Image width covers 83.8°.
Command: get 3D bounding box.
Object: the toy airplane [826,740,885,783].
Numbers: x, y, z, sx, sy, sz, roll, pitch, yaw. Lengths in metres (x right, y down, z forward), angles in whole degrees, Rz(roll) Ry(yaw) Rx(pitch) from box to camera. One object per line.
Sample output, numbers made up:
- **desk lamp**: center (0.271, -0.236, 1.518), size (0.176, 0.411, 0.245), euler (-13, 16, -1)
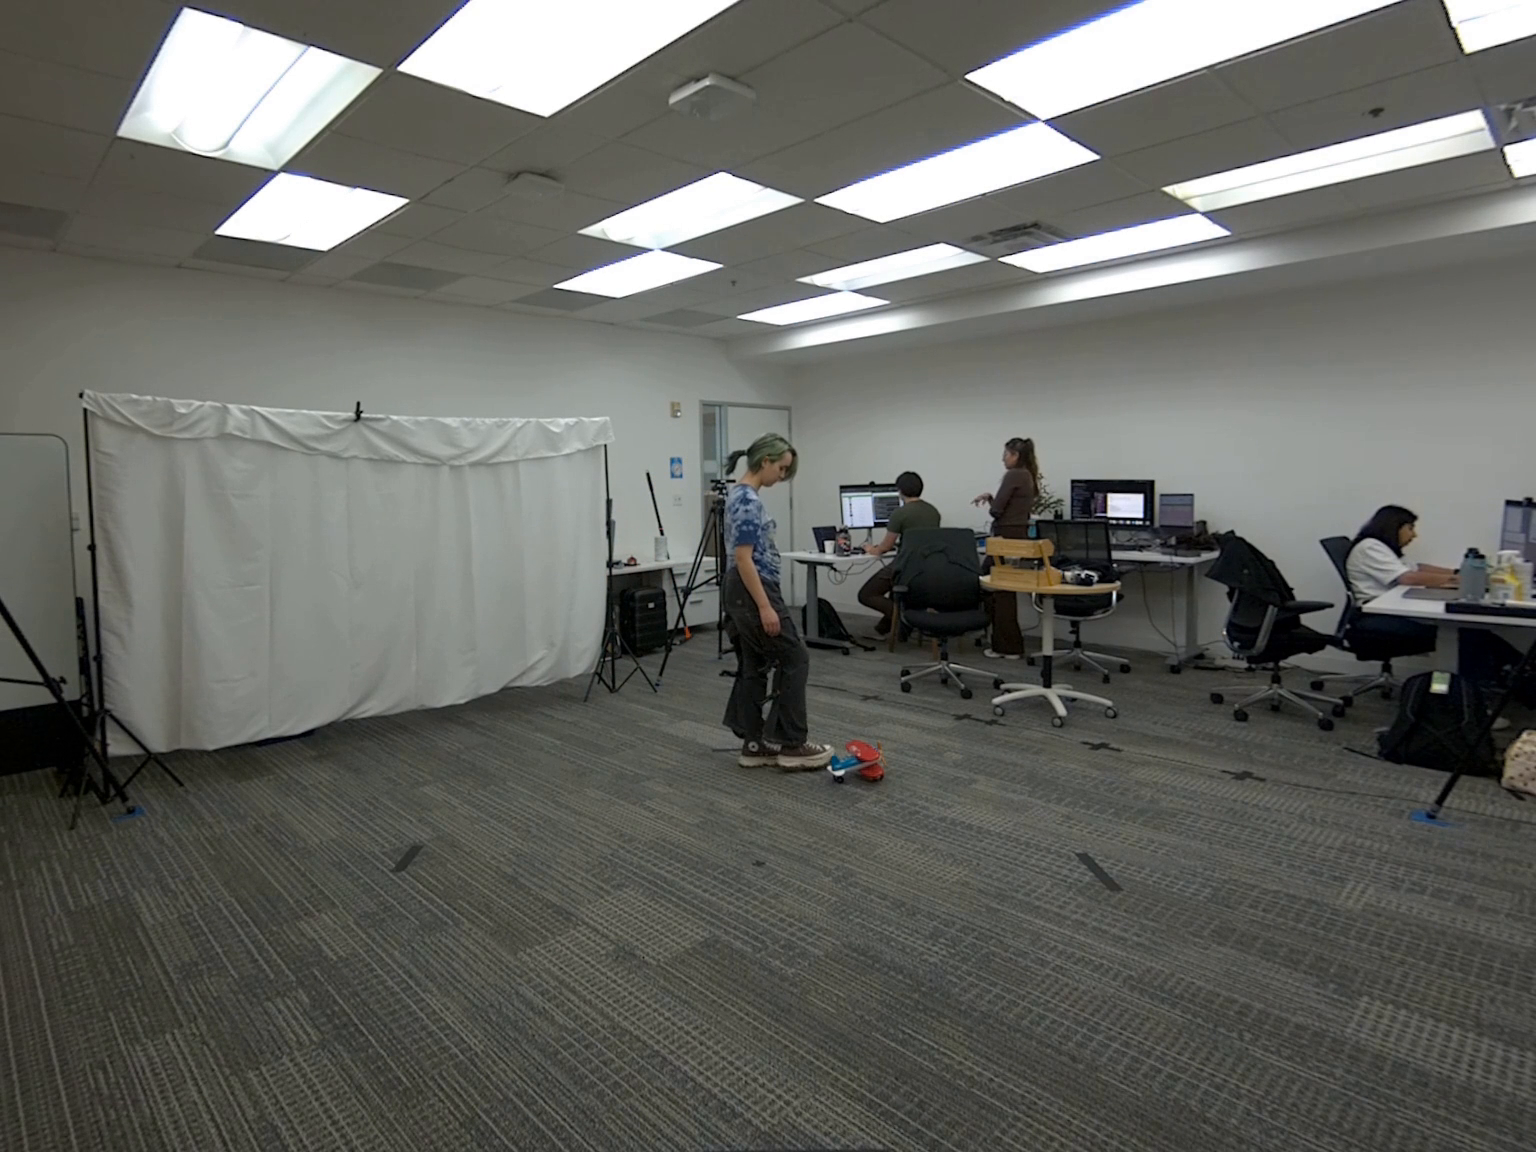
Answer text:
- **toy airplane**: center (0.420, 0.875, 3.943), size (0.259, 0.156, 0.252), euler (5, 7, 44)
